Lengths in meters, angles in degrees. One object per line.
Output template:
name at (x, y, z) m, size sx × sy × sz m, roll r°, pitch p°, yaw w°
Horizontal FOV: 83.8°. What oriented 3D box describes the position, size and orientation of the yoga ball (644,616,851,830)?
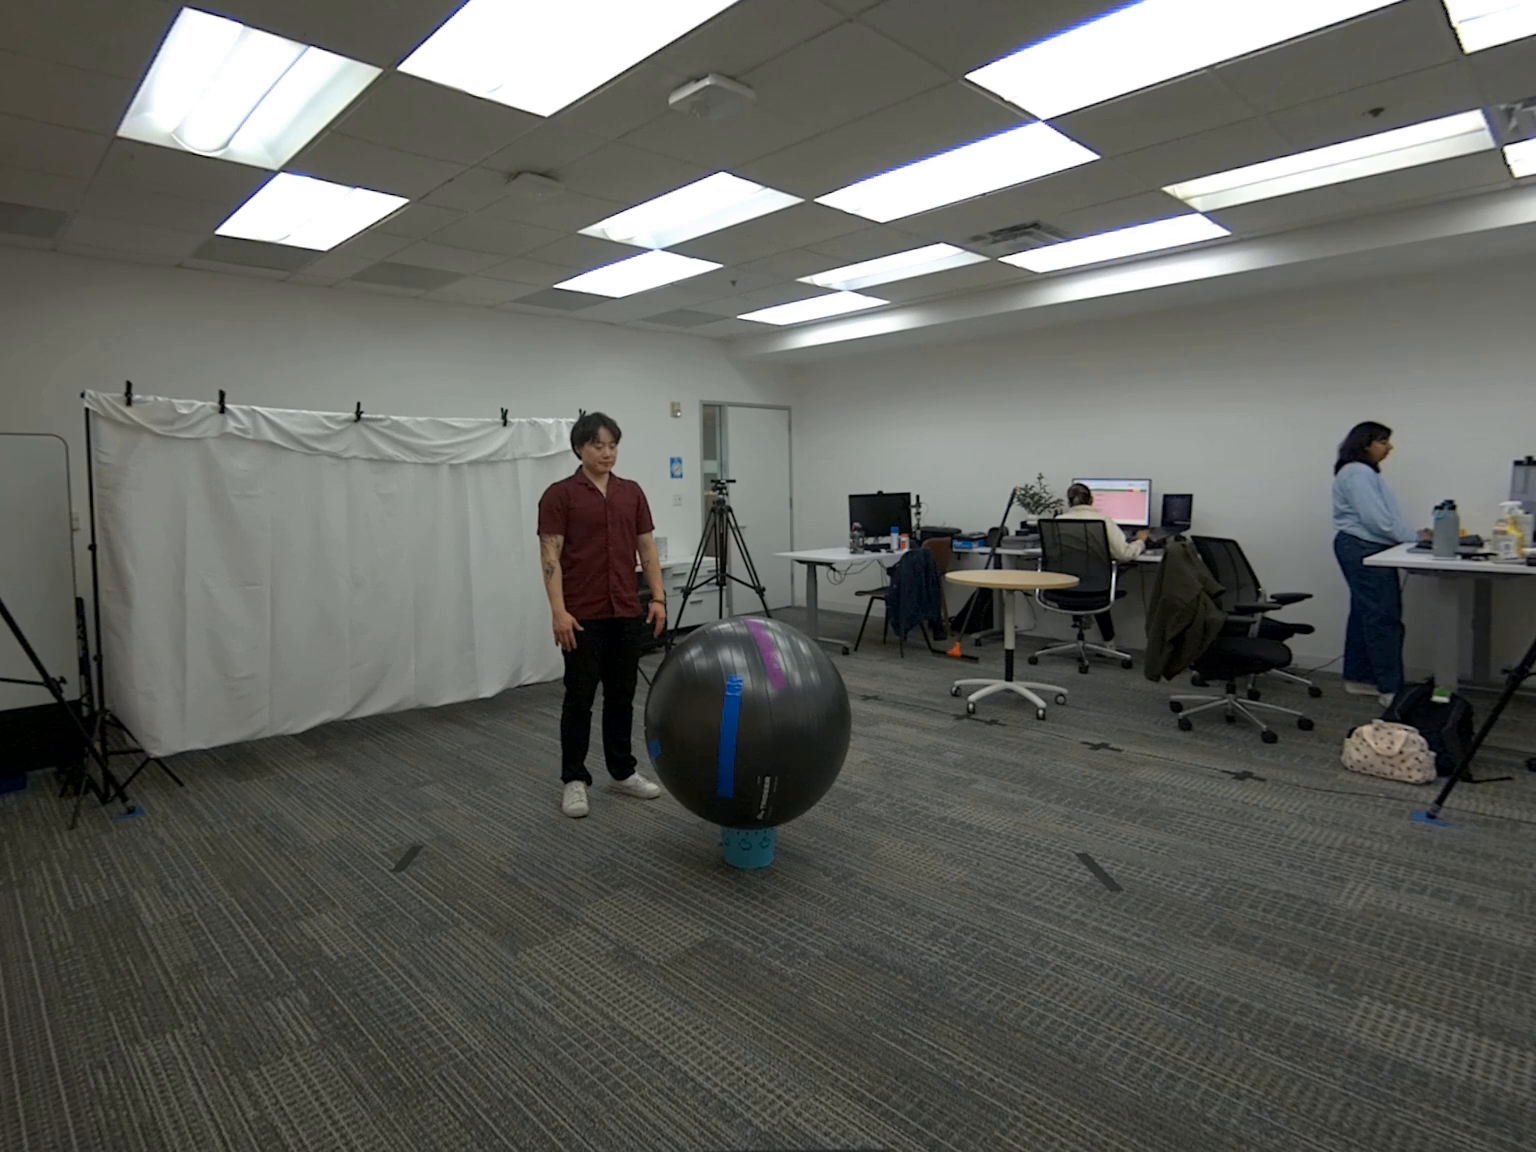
yoga ball at (-0.073, 0.530, 3.136) m, size 0.757 × 0.755 × 0.762 m, roll -1°, pitch 5°, yaw -2°
